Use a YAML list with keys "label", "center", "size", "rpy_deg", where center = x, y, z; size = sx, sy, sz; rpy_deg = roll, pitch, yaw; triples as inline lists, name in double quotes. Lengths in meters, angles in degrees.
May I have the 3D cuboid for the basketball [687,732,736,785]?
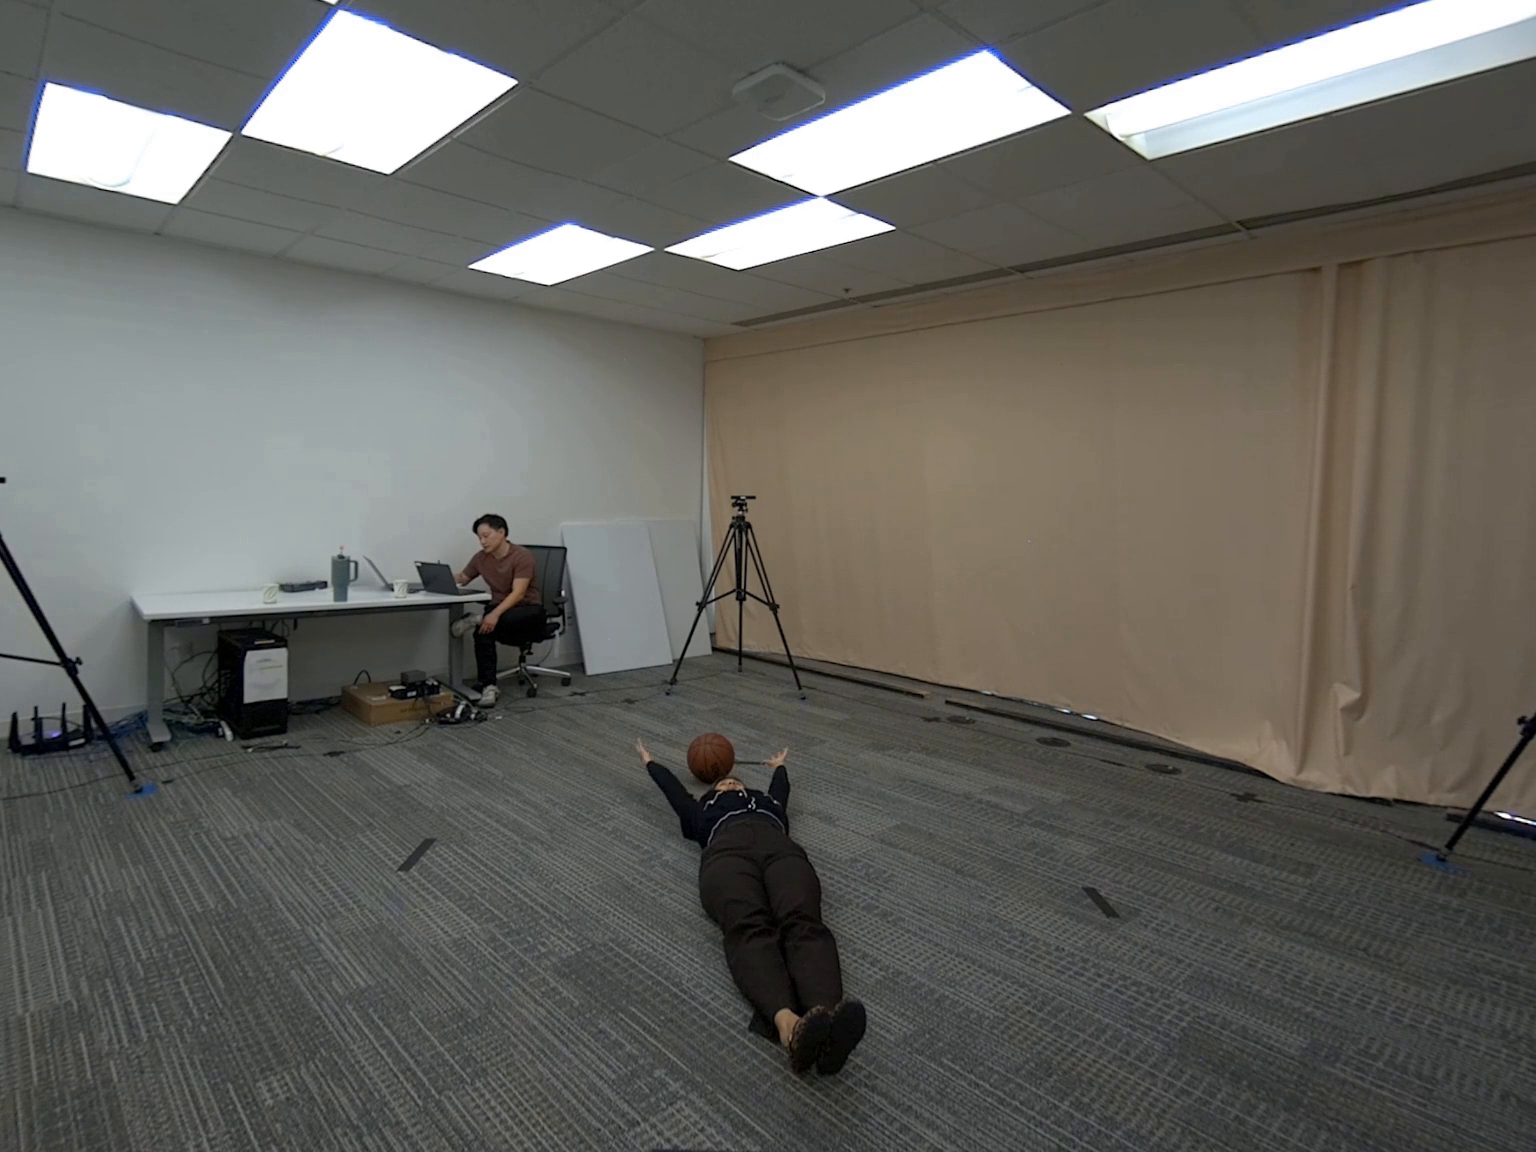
- label: "basketball"
  center: [-0.294, 0.890, 4.139]
  size: [0.236, 0.235, 0.237]
  rpy_deg: [1, 4, -1]
